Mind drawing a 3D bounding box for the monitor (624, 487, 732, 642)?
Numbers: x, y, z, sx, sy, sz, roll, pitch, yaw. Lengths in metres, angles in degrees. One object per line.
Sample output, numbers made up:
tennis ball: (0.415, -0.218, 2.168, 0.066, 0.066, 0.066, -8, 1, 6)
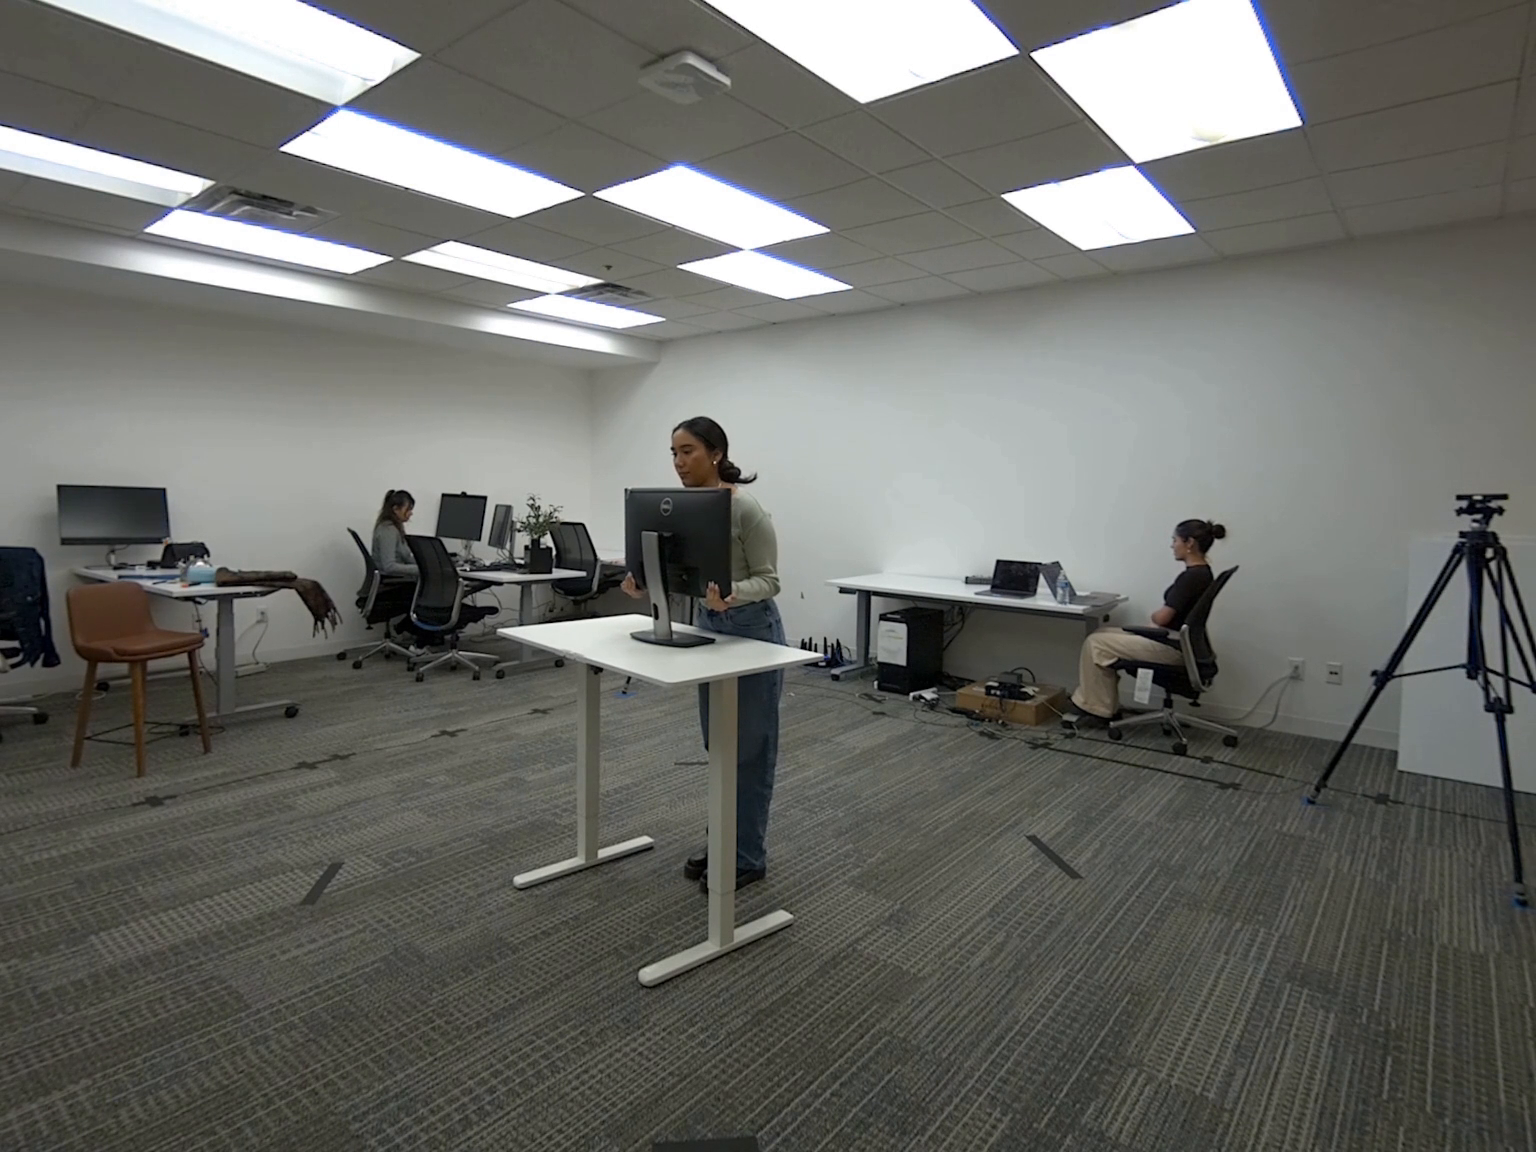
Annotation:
monitor: (-0.327, -0.034, 2.807, 0.557, 0.523, 0.181, 5, 0, 43)
